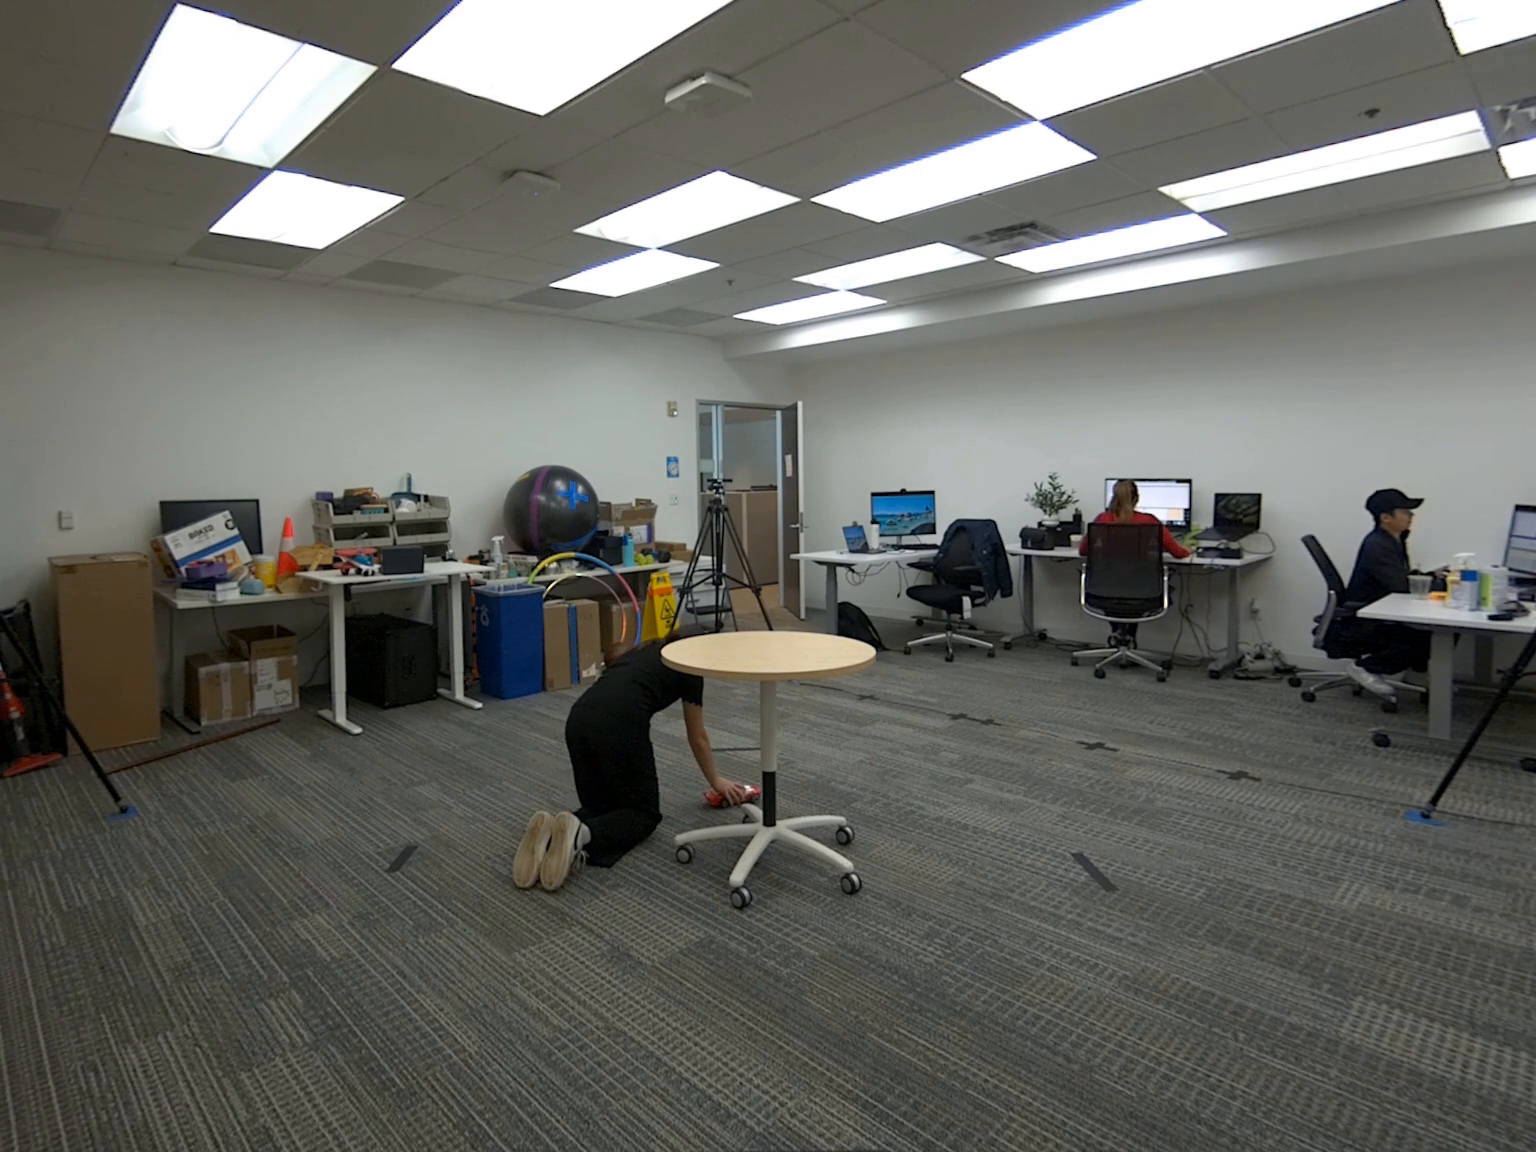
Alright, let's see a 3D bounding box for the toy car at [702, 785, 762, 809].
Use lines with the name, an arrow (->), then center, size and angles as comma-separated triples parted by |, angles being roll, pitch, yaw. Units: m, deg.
toy car -> -0.161, 0.948, 3.700 | 0.249, 0.083, 0.133 | 8, 2, -21
